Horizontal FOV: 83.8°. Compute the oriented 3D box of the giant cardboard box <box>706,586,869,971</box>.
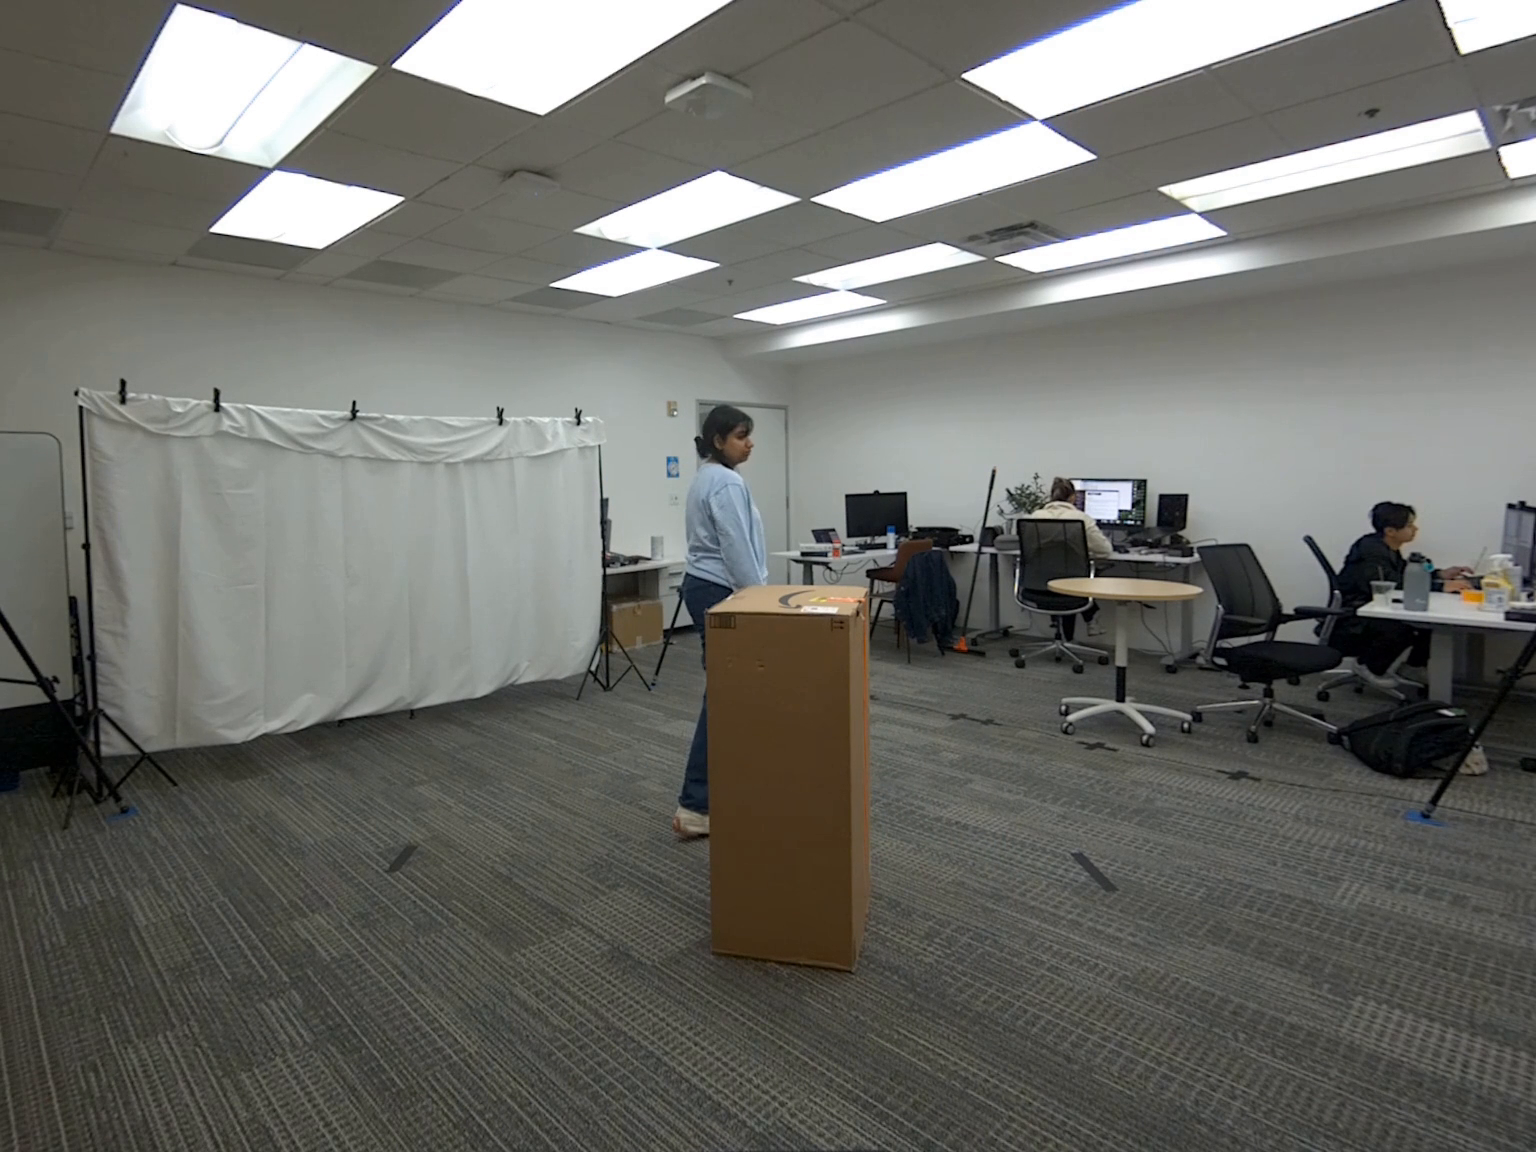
[{"bbox_3d":[0.092,0.578,2.711,0.432,1.022,0.572,0,4,13],"label":"giant cardboard box"}]
